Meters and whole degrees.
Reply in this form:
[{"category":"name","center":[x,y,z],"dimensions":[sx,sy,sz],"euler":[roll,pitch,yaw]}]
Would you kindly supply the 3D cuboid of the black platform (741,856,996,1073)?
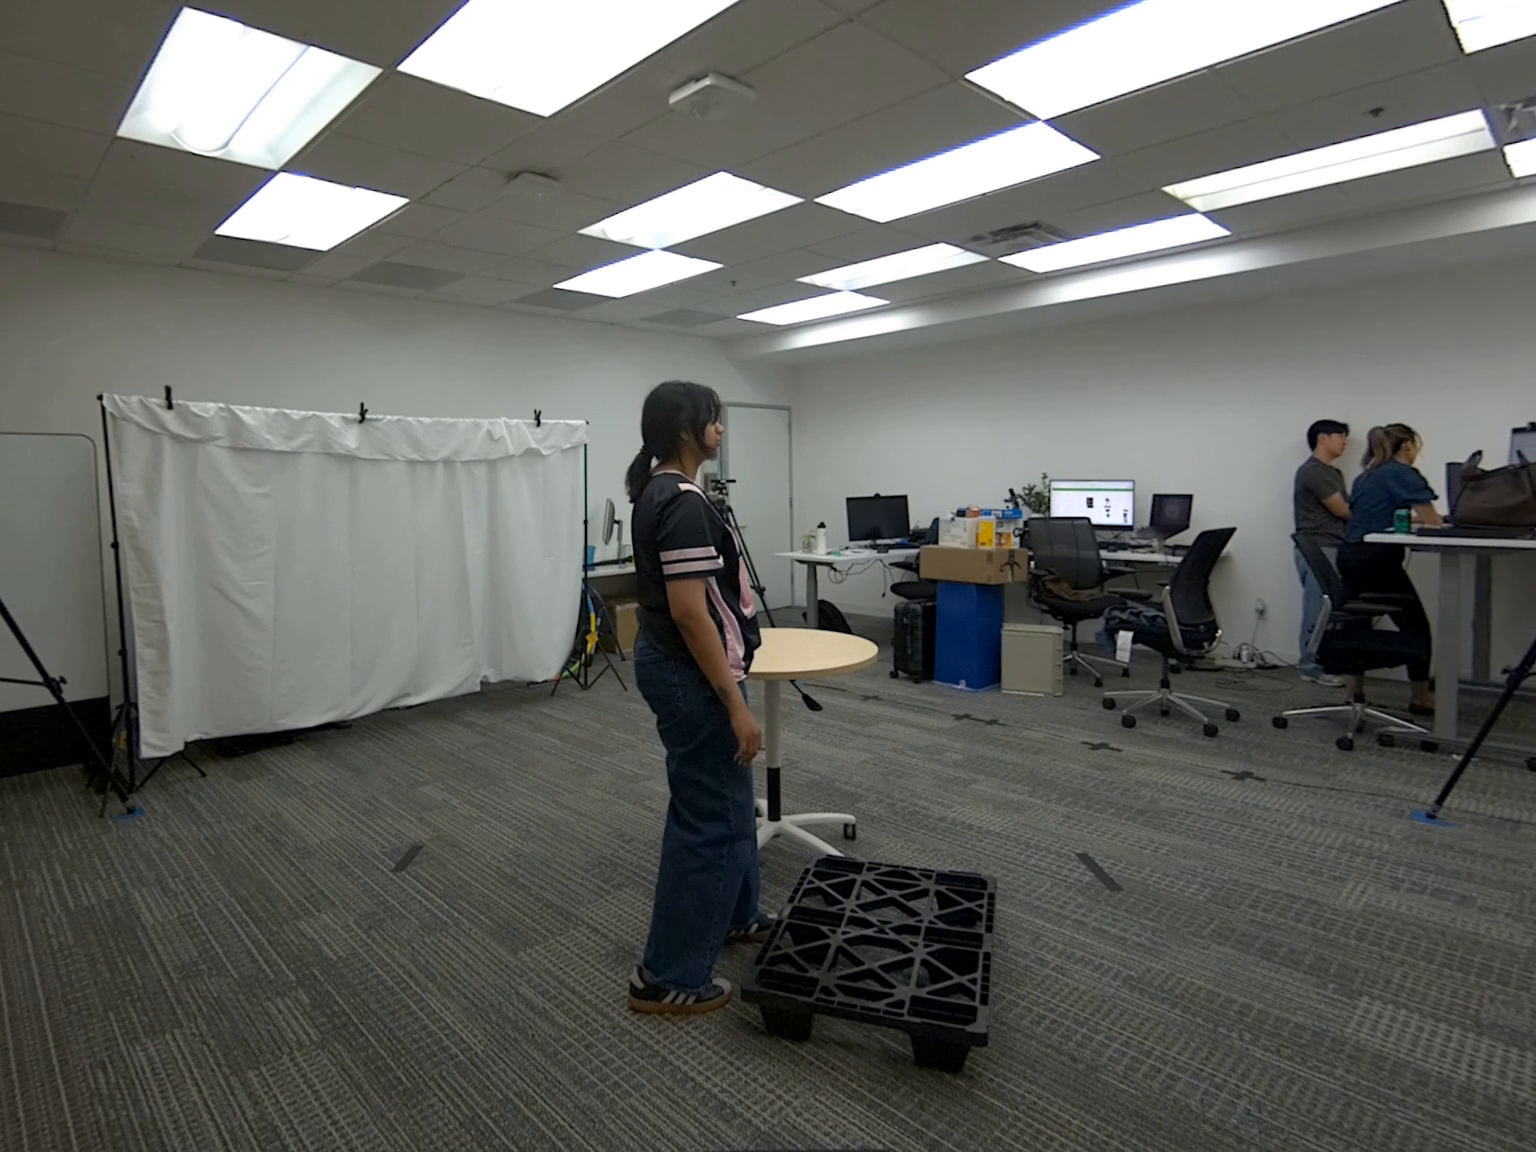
[{"category":"black platform","center":[0.324,1.051,2.415],"dimensions":[0.616,0.143,0.795],"euler":[0,6,17]}]
